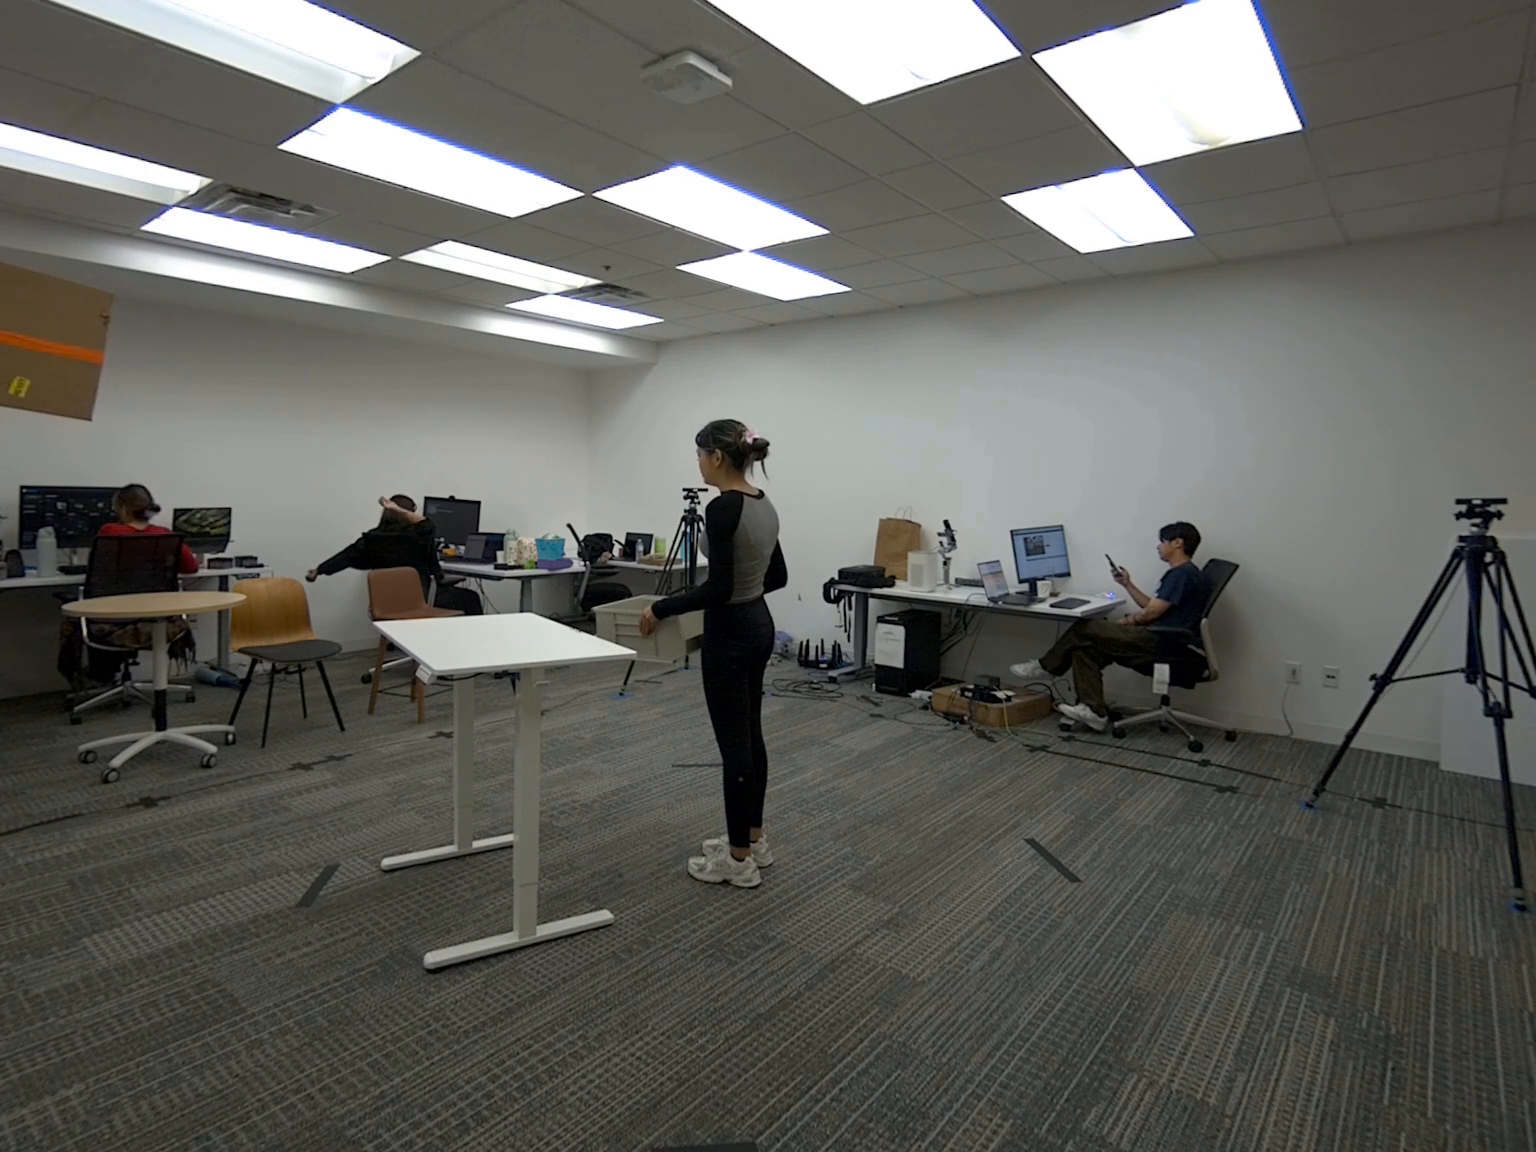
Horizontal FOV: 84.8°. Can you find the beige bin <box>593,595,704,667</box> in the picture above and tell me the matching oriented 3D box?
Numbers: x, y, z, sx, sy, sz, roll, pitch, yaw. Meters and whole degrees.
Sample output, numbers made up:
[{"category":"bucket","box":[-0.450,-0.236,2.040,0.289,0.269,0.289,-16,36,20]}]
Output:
[{"category":"beige bin","box":[-0.415,0.189,3.228,0.386,0.188,0.415,0,6,21]}]
